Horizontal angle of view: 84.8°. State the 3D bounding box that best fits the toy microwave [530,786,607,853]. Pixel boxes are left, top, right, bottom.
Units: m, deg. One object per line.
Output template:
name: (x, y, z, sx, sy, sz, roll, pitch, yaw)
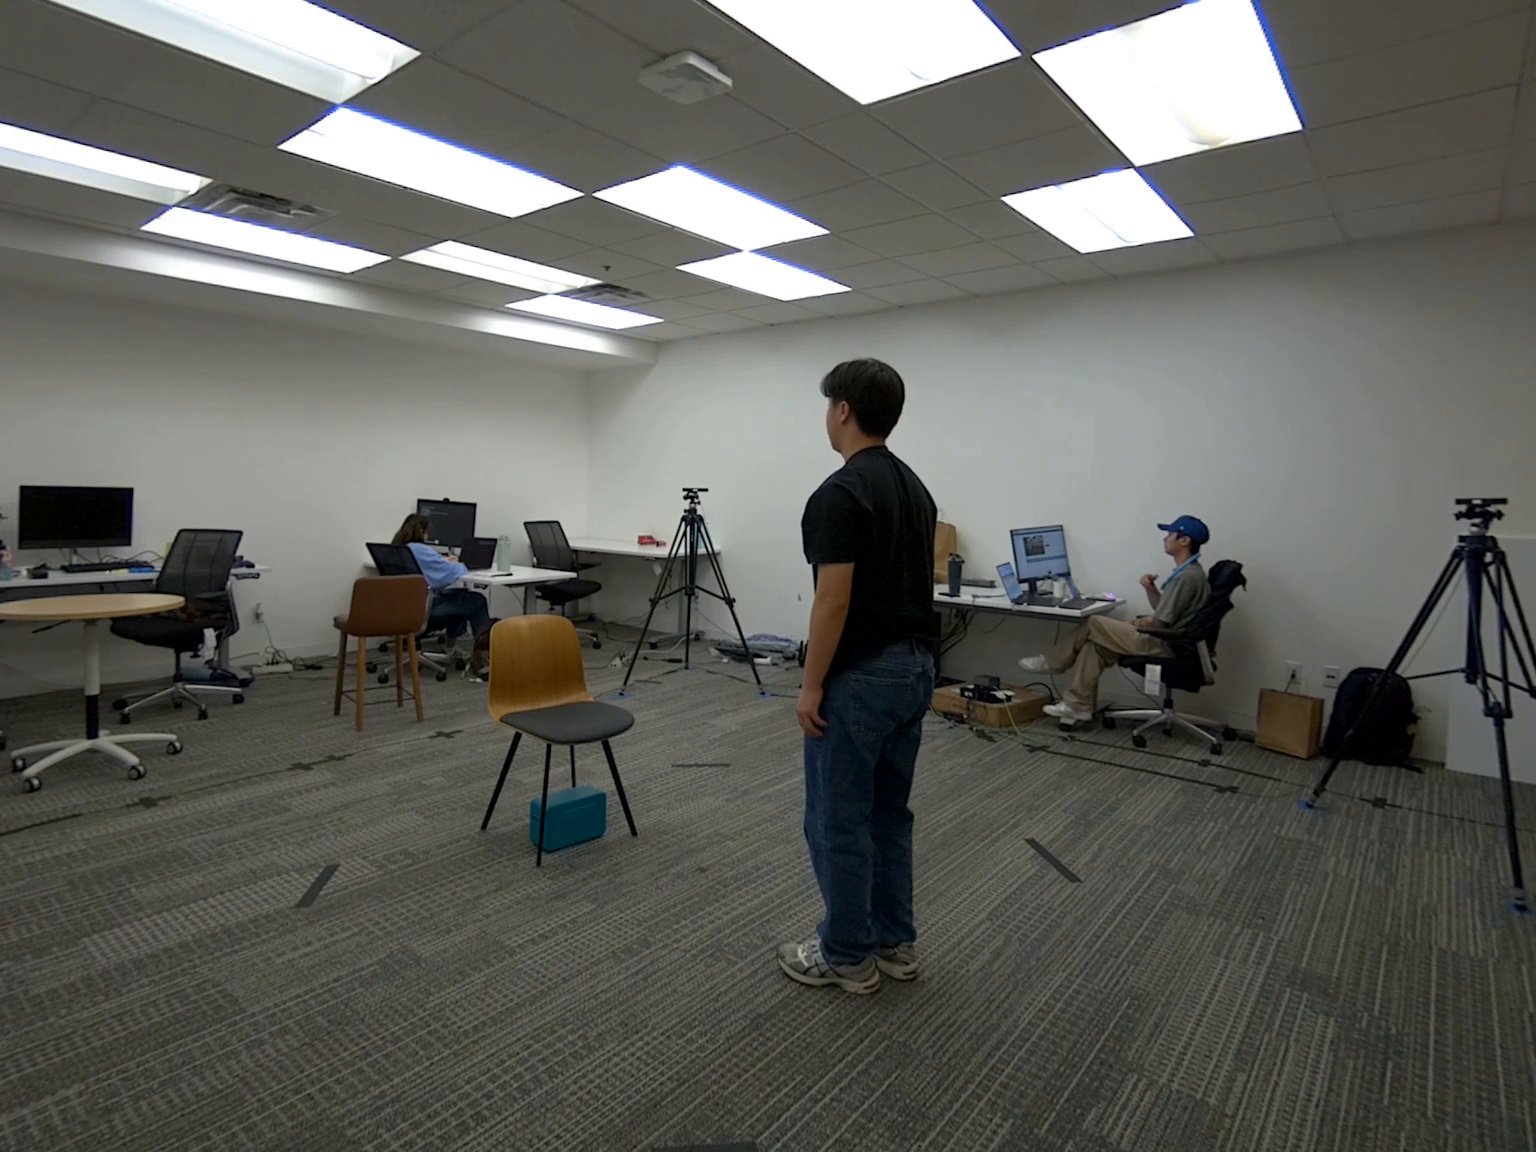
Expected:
toy microwave: (-0.805, 0.947, 3.343, 0.277, 0.183, 0.157, -3, 6, -44)
